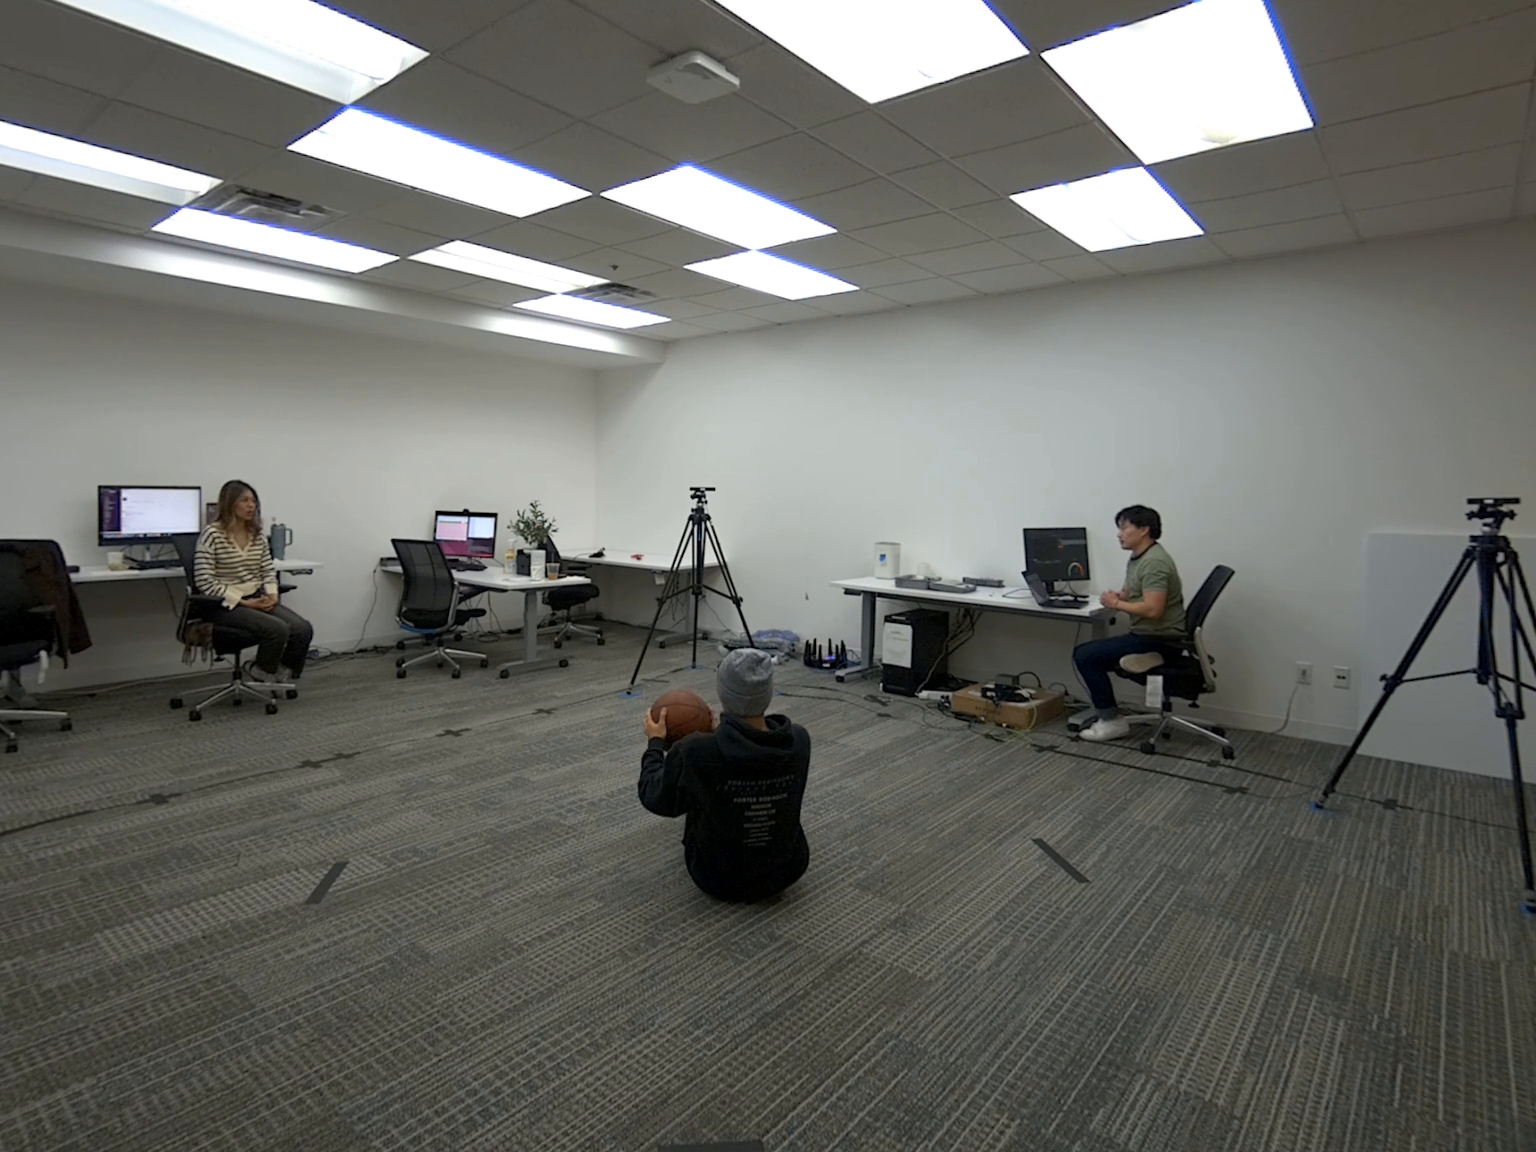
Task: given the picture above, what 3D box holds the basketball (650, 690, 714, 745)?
[{"bbox_3d":[-0.340,0.544,3.202,0.235,0.235,0.237,1,4,-2],"label":"basketball"}]
